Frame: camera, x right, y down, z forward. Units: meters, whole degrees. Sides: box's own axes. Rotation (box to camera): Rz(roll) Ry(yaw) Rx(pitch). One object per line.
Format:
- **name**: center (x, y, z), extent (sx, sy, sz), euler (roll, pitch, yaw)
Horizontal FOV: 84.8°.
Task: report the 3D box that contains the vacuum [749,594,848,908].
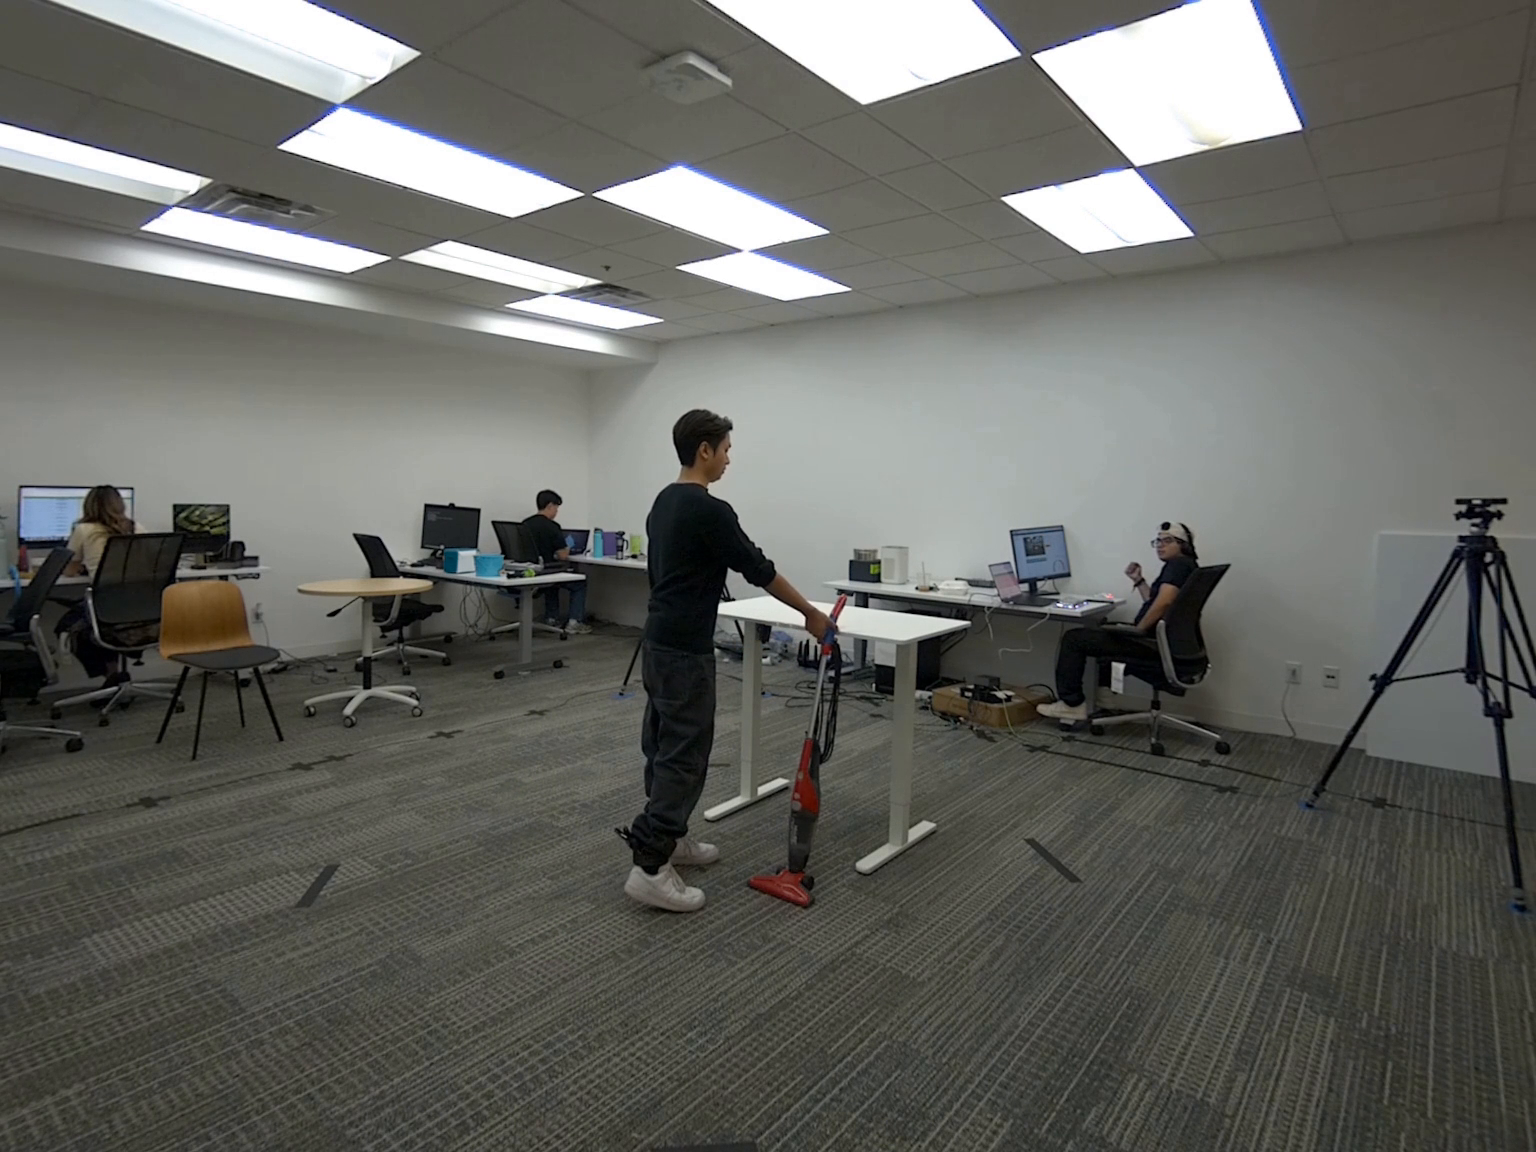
- **vacuum**: center (0.170, 0.588, 3.065), extent (0.261, 1.057, 0.138), euler (6, -14, 34)
